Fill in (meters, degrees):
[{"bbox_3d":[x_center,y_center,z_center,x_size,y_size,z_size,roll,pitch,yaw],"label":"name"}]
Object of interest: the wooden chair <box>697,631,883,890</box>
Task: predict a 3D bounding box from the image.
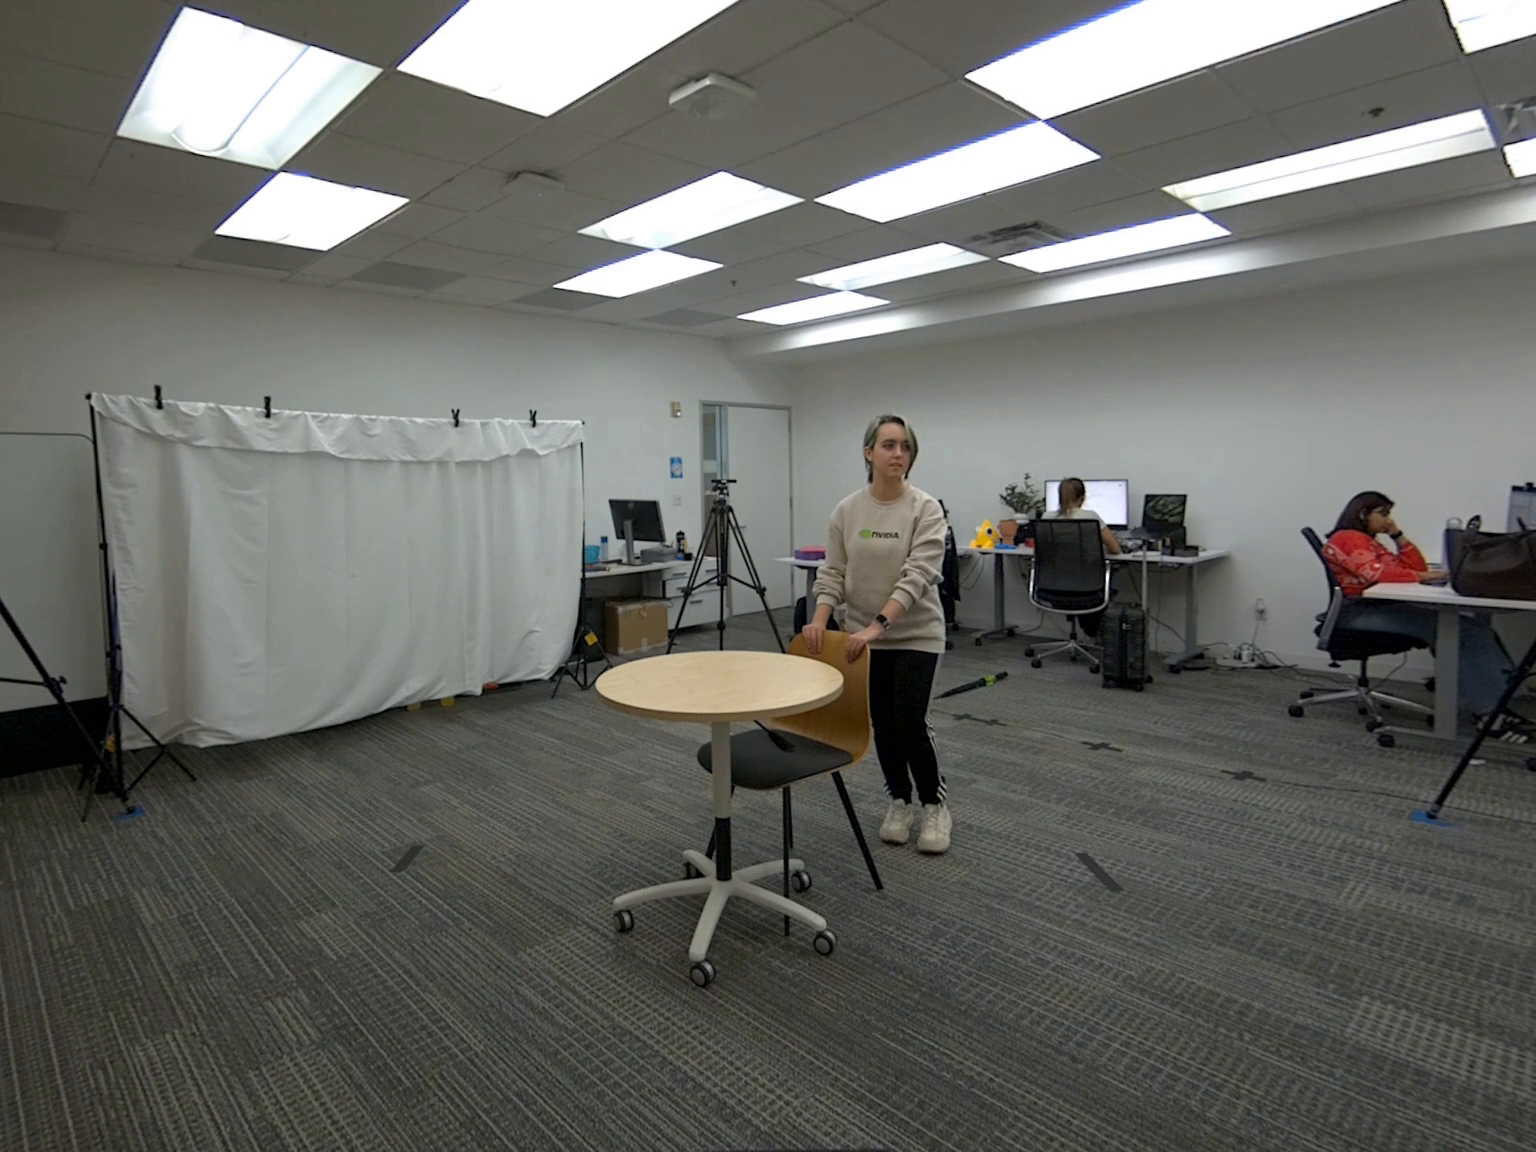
[{"bbox_3d":[0.060,0.642,2.890,0.508,0.876,0.493,1,3,-40],"label":"wooden chair"}]
